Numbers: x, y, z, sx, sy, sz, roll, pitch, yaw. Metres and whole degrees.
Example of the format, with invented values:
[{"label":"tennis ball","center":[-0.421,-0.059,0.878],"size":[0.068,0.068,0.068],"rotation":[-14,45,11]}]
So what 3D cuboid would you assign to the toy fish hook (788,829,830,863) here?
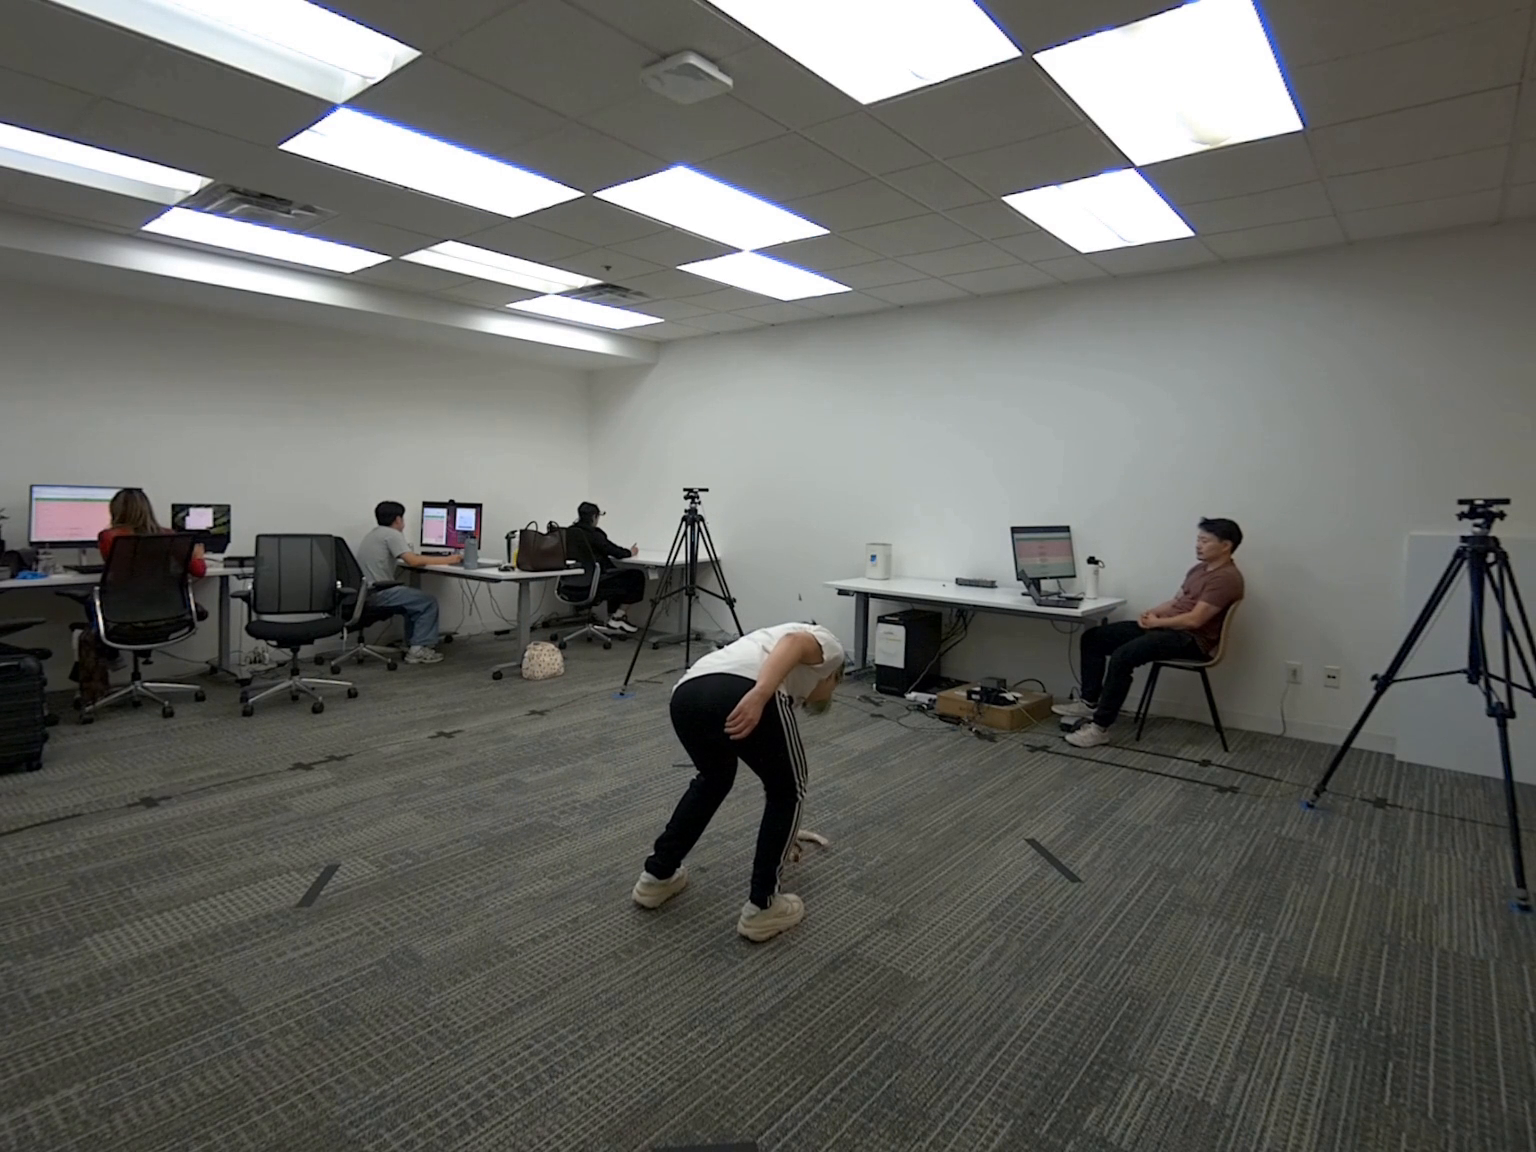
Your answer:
[{"label":"toy fish hook","center":[0.127,1.003,3.187],"size":[0.224,0.048,0.504],"rotation":[1,-5,-3]}]
